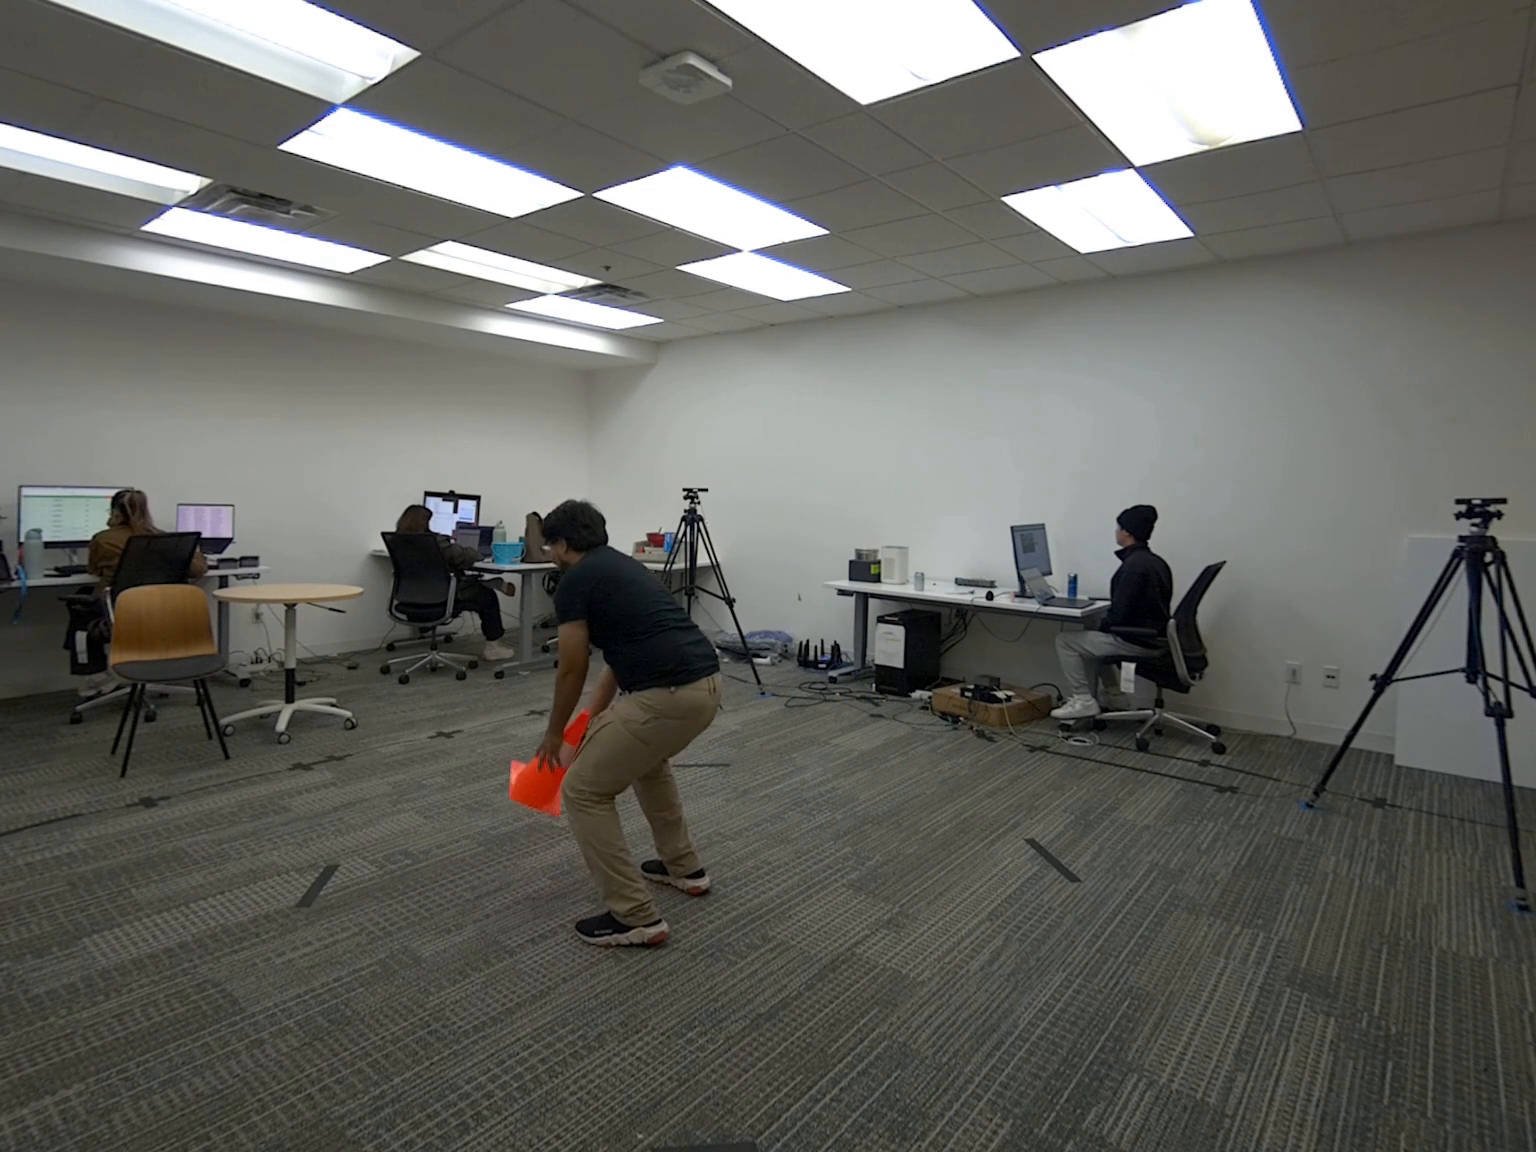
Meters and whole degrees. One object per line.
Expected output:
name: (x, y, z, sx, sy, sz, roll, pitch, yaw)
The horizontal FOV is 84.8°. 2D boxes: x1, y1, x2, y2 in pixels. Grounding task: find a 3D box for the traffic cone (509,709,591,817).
traffic cone: (-0.729, 0.607, 2.965, 0.197, 0.382, 0.212, 25, 22, -24)
